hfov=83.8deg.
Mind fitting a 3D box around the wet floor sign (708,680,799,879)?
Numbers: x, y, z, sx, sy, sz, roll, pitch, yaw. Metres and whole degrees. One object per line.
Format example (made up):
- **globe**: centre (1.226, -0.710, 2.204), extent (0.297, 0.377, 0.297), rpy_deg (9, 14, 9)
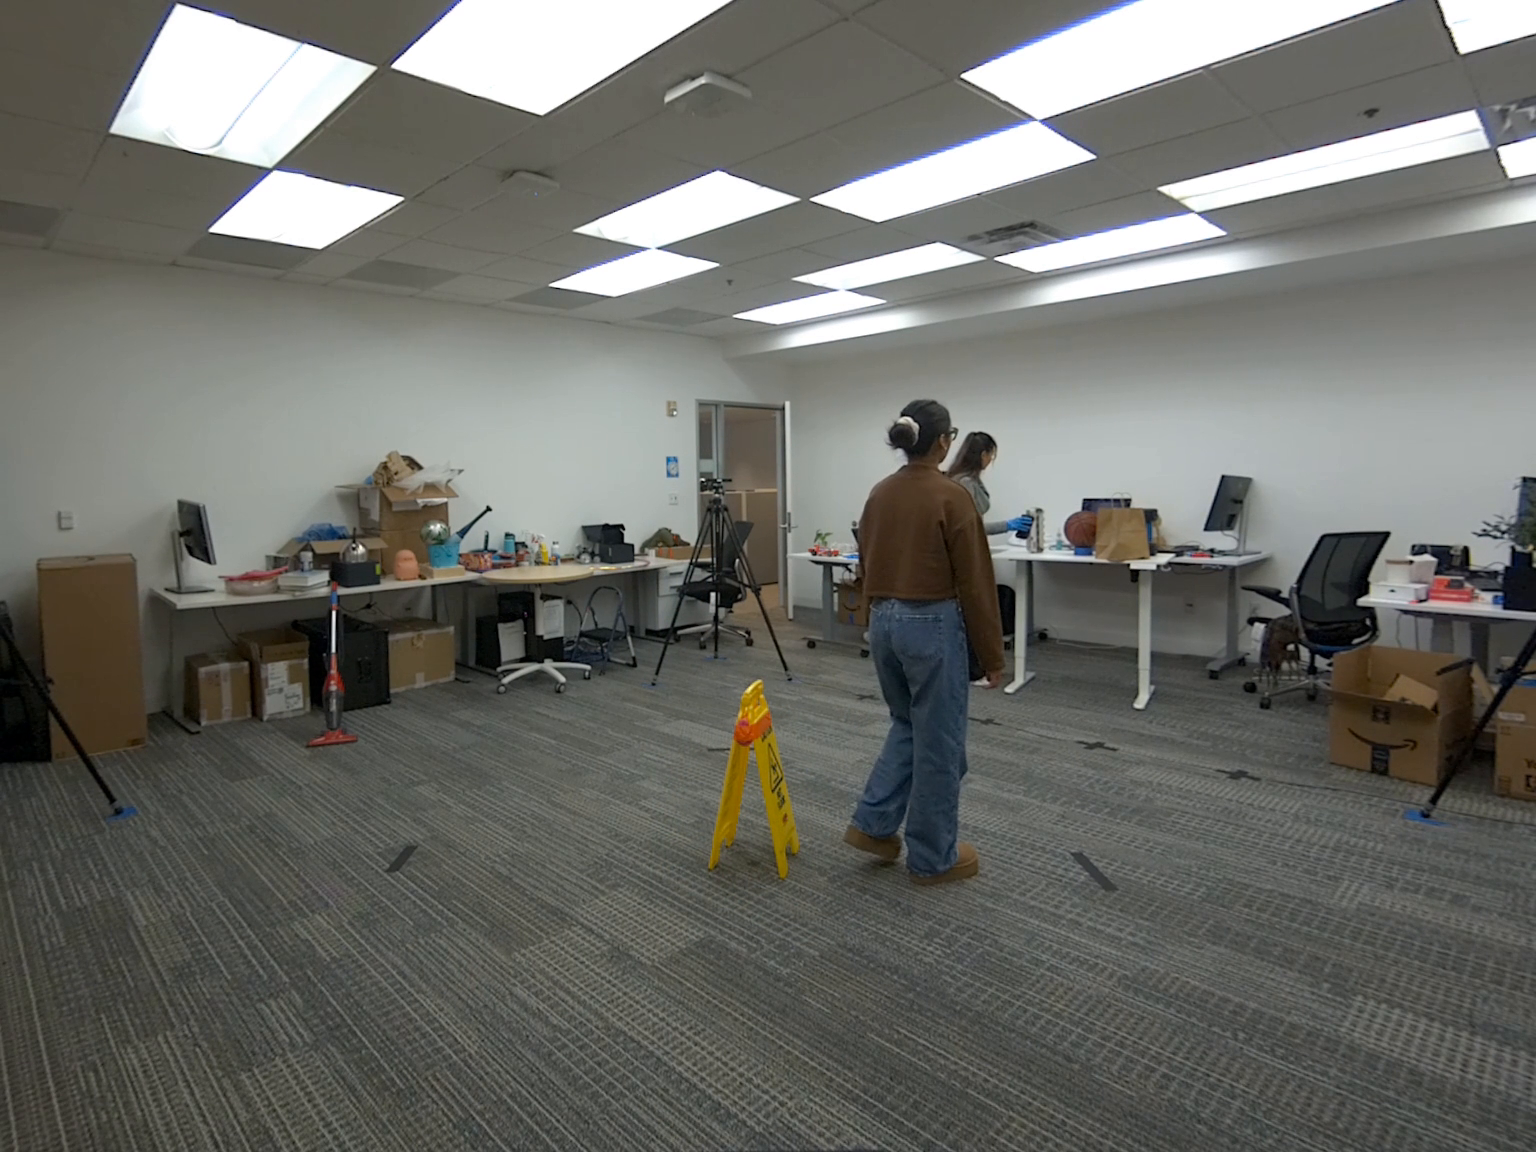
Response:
- **wet floor sign**: centre (-0.050, 0.717, 3.128), extent (0.294, 0.645, 0.278), rpy_deg (0, 3, 17)
